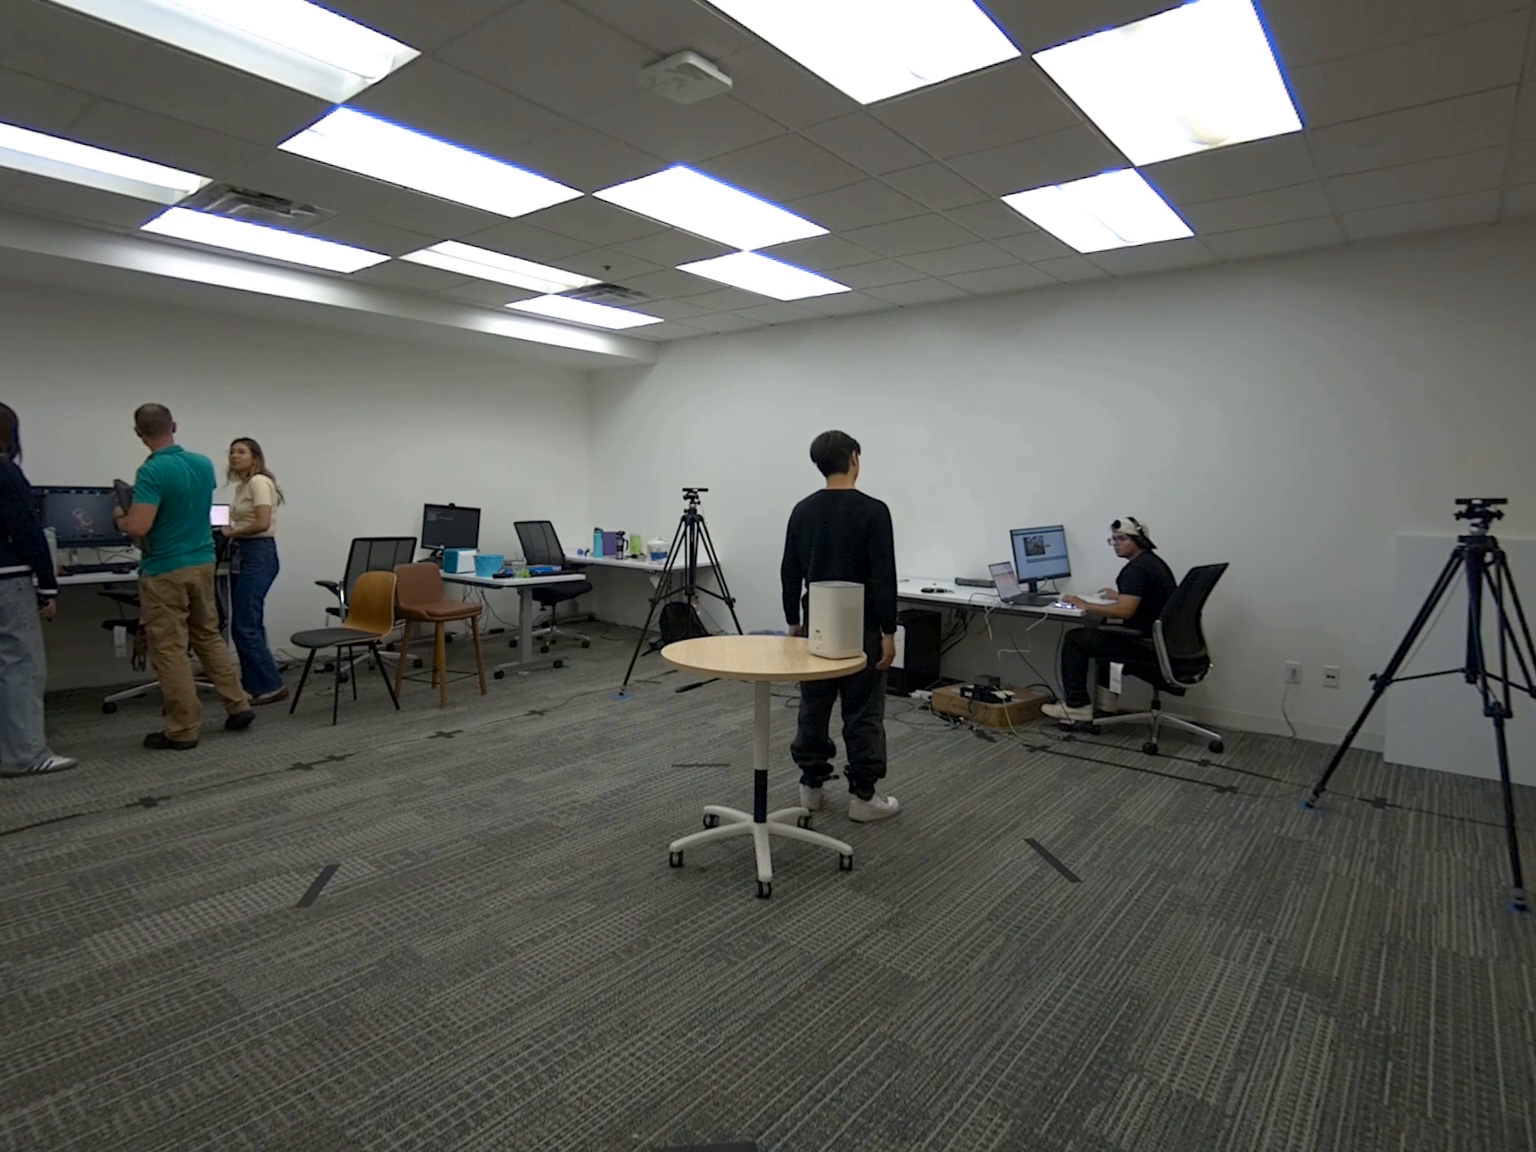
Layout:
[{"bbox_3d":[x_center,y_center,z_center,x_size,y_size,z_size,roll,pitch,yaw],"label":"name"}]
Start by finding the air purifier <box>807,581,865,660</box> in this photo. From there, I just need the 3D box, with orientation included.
[{"bbox_3d":[0.243,0.157,3.133,0.167,0.265,0.176,0,4,-34],"label":"air purifier"}]
